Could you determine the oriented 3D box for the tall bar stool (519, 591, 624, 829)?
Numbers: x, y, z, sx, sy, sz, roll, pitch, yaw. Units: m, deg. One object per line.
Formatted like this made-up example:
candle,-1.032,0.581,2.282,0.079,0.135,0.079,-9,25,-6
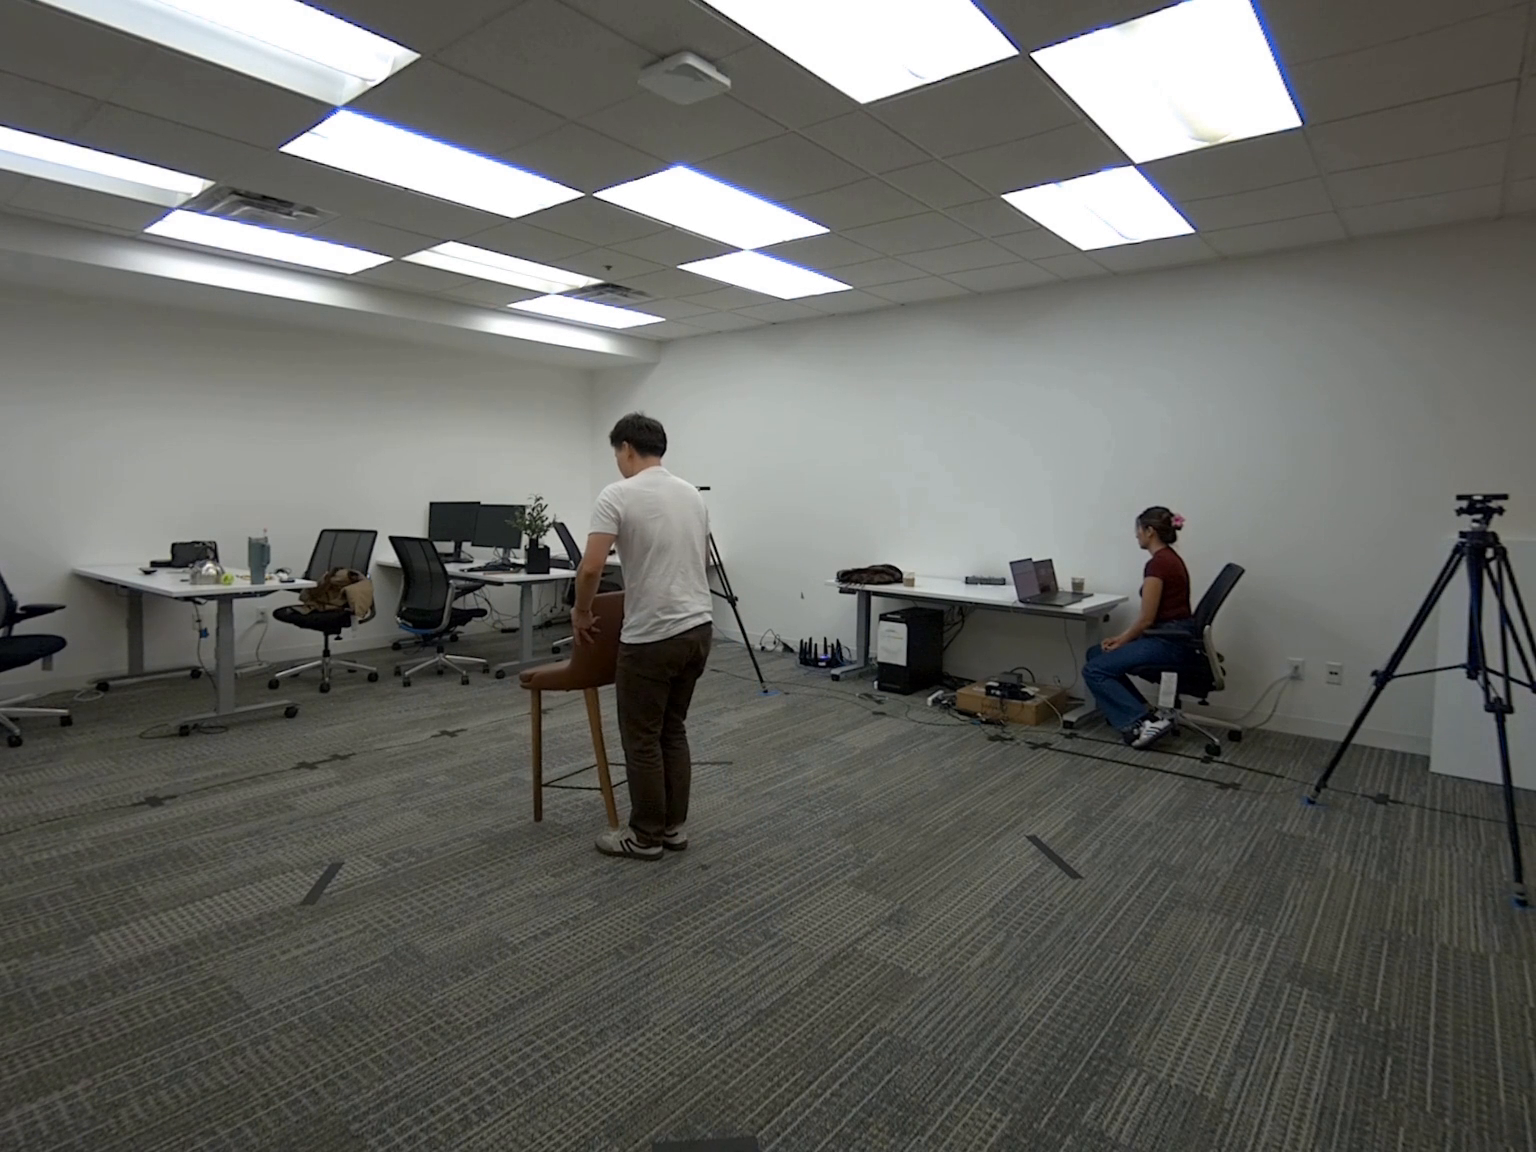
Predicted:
tall bar stool,-0.730,0.521,3.477,0.480,0.890,0.444,-7,0,36
